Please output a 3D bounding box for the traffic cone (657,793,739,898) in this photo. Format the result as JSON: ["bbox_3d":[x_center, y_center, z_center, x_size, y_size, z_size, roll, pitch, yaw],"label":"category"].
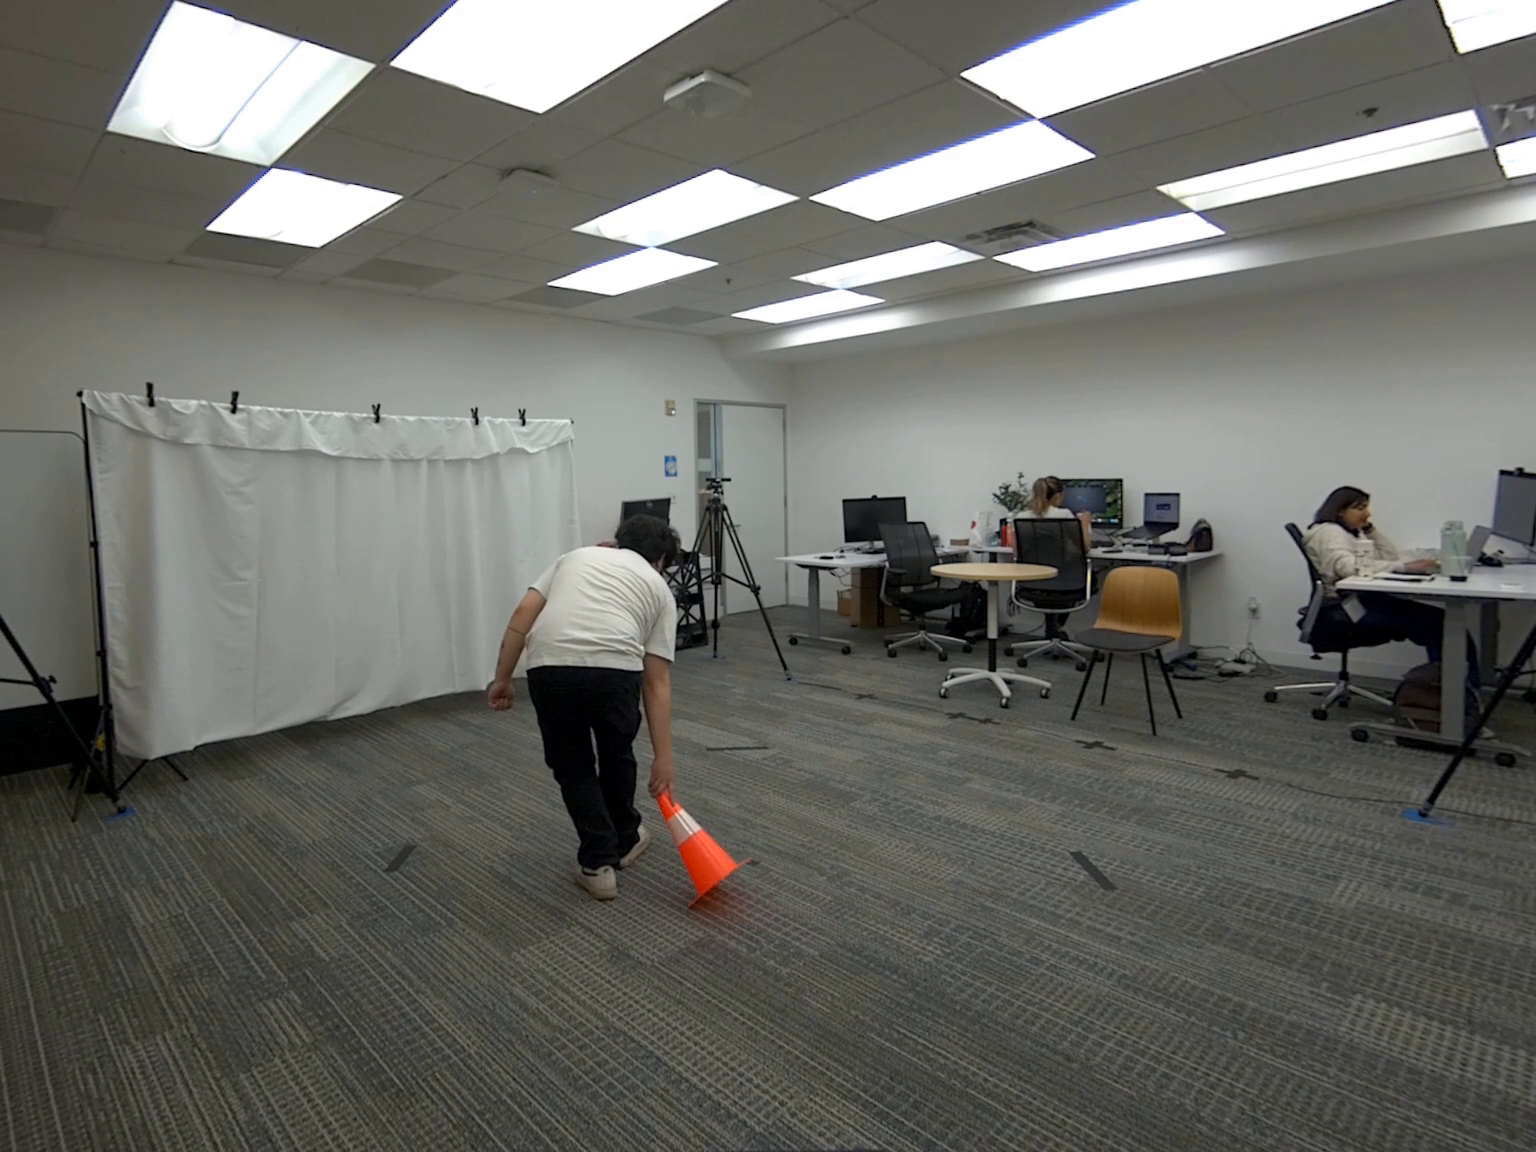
[{"bbox_3d":[-0.273,0.863,2.882,0.203,0.392,0.200,-39,-16,9],"label":"traffic cone"}]
